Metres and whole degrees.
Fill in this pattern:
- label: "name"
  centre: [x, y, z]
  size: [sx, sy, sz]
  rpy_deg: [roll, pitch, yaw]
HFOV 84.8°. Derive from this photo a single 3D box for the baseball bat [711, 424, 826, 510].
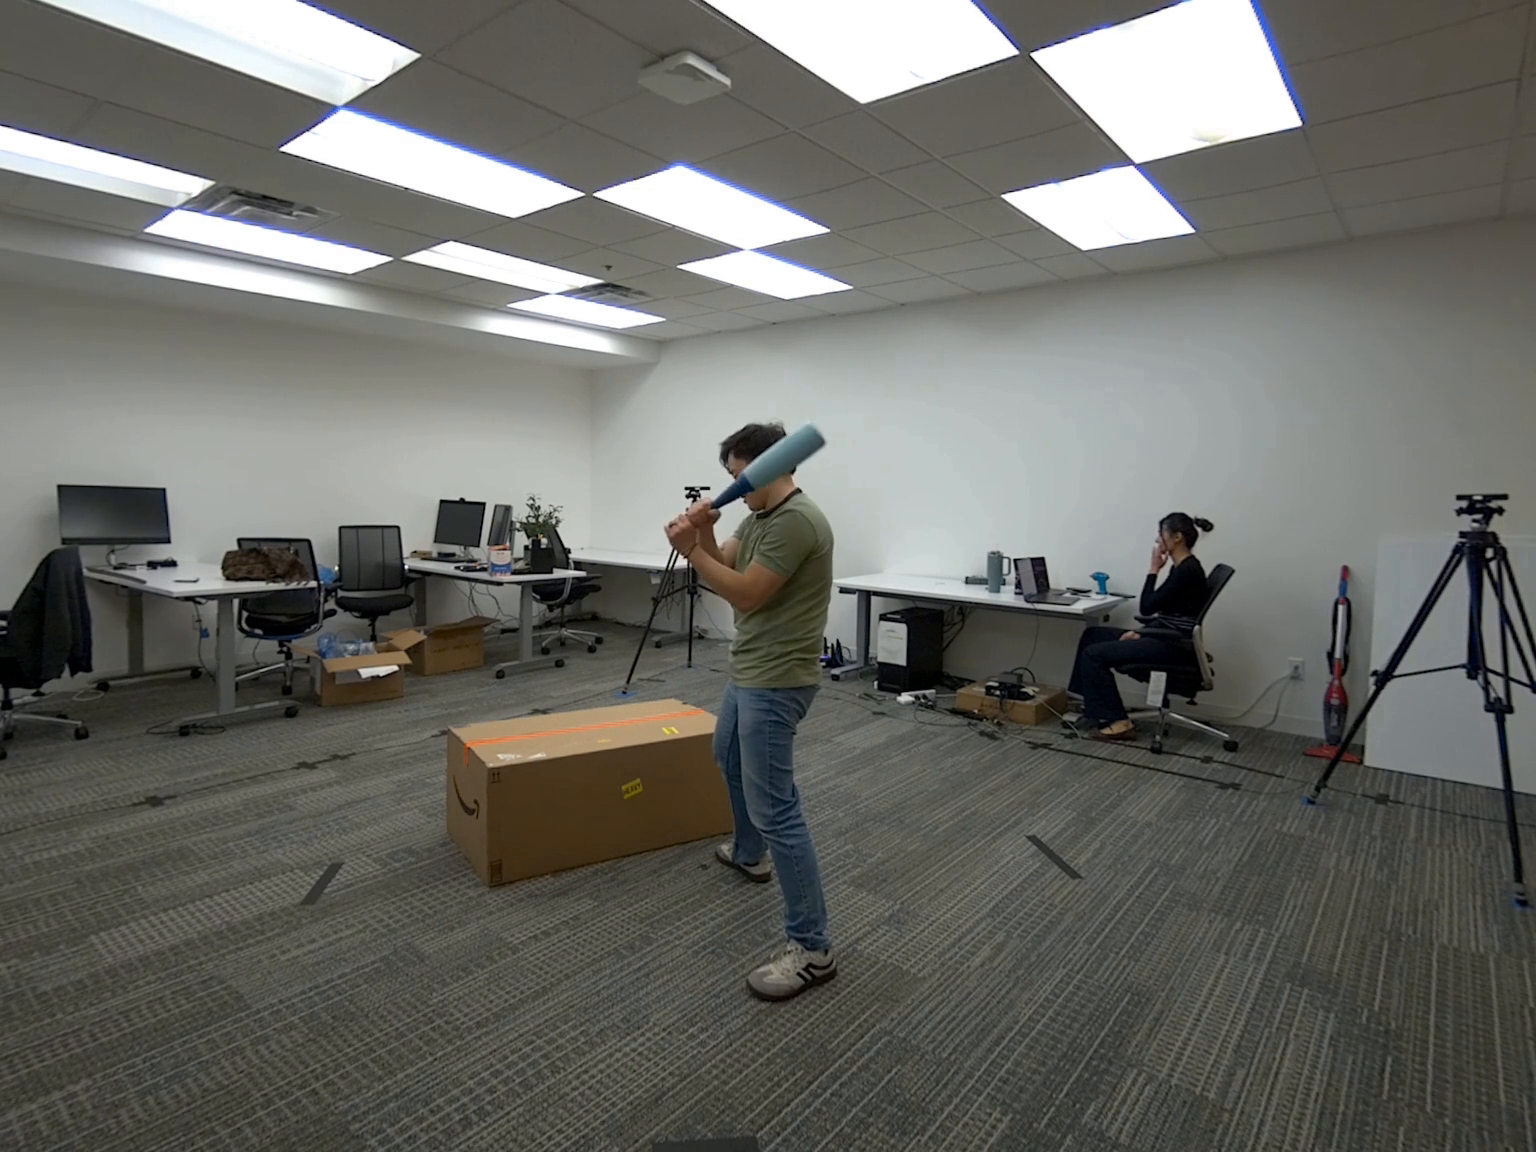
- label: "baseball bat"
  centre: [-0.099, -0.263, 2.527]
  size: [0.545, 0.089, 0.088]
  rpy_deg: [-35, -1, 10]
